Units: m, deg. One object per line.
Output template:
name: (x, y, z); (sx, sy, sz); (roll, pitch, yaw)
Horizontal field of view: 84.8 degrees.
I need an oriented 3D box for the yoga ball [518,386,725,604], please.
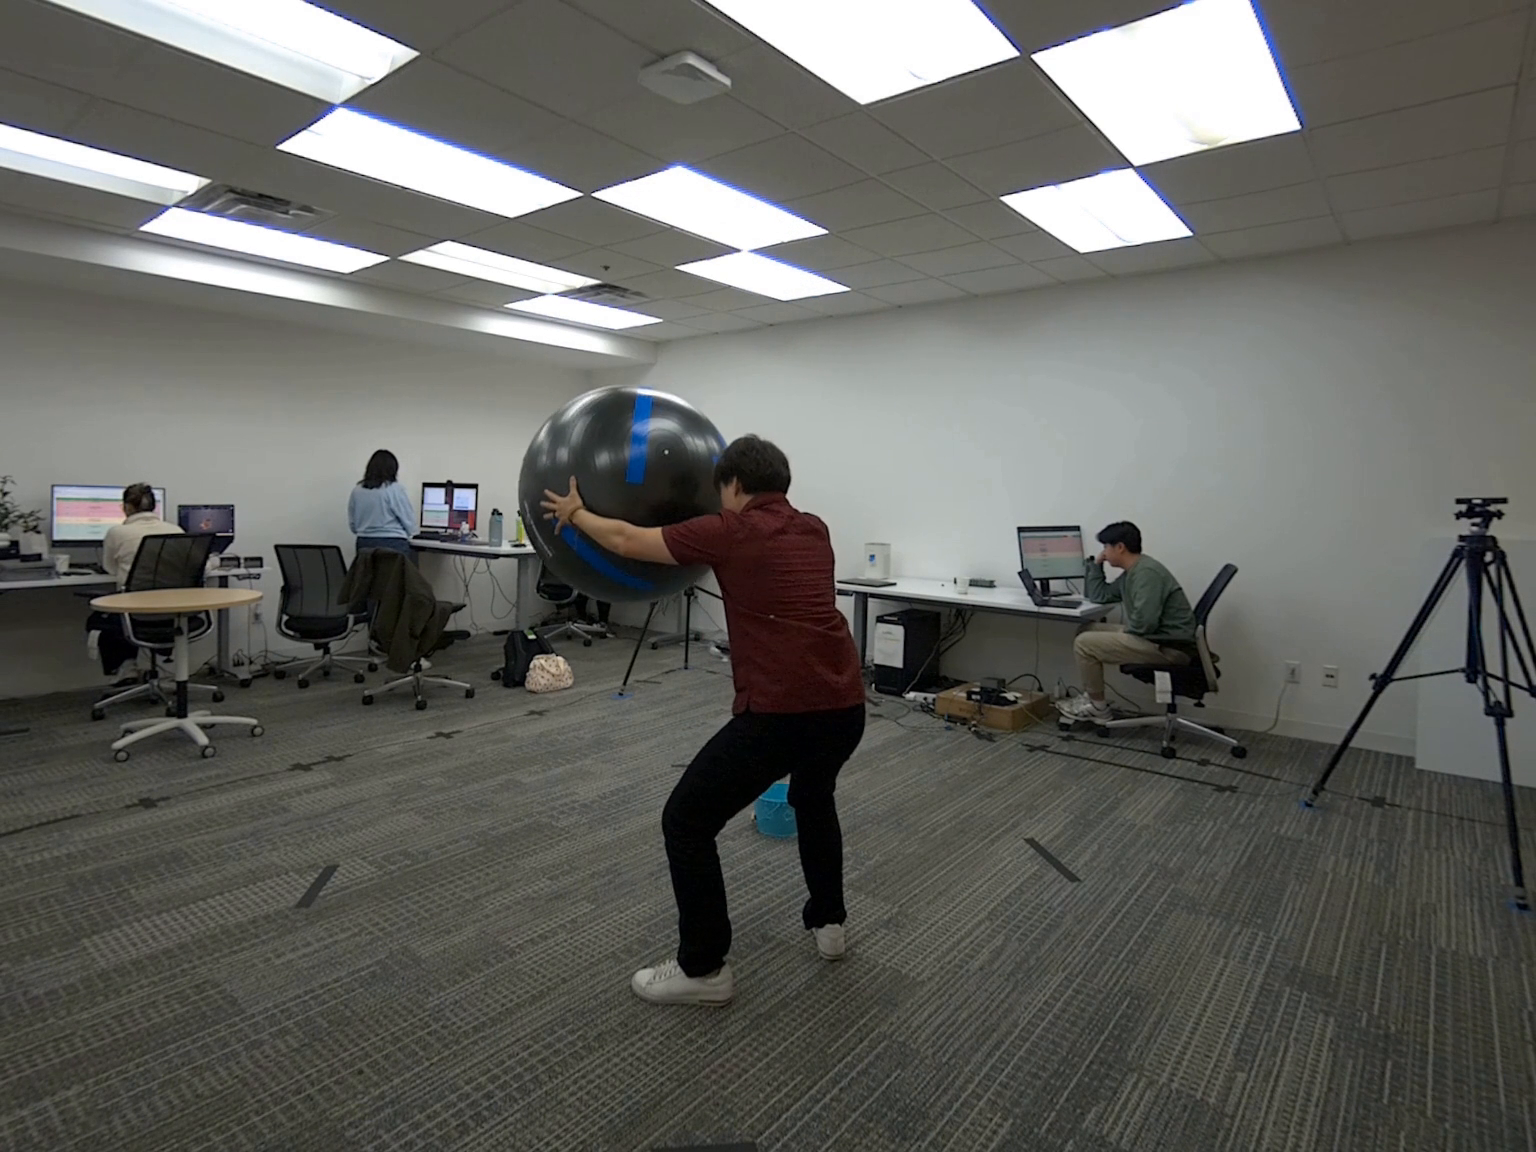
yoga ball: (-0.491, -0.278, 2.966); (0.757, 0.756, 0.762); (1, 4, -2)
